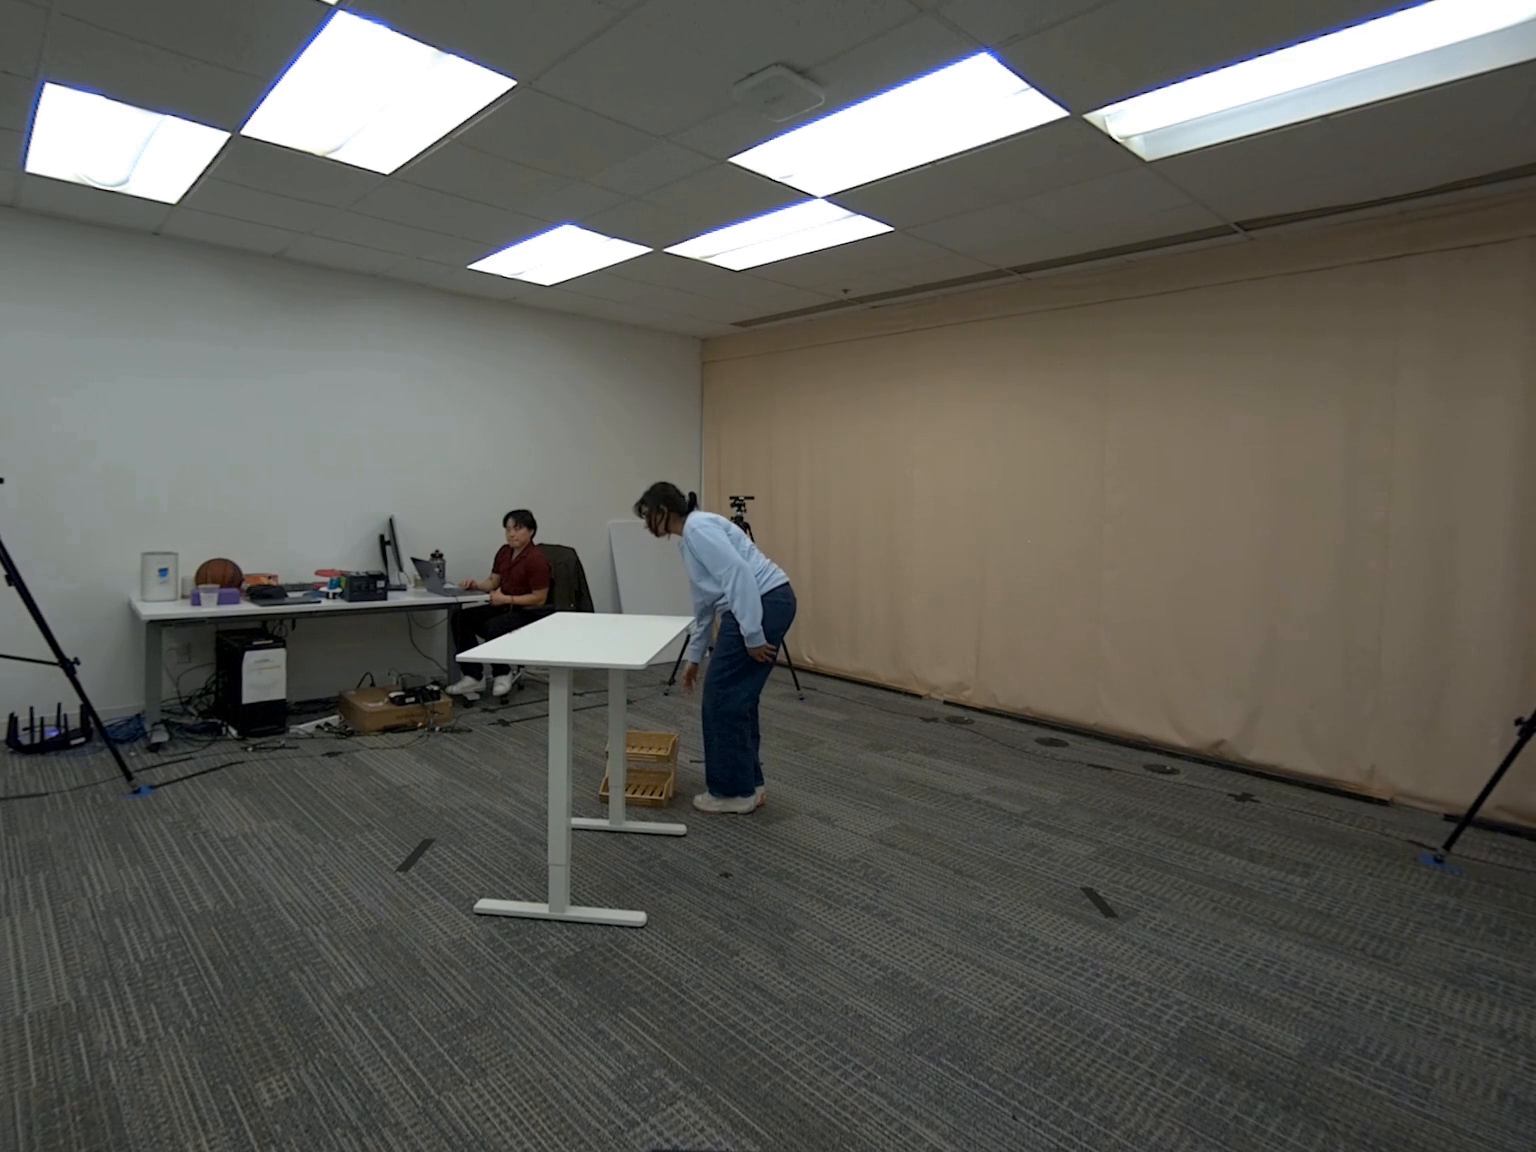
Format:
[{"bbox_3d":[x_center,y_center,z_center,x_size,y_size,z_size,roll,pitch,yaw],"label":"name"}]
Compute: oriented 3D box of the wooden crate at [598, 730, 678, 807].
[{"bbox_3d":[-0.599,0.880,3.904,0.327,0.273,0.300,2,3,7],"label":"wooden crate"}]
